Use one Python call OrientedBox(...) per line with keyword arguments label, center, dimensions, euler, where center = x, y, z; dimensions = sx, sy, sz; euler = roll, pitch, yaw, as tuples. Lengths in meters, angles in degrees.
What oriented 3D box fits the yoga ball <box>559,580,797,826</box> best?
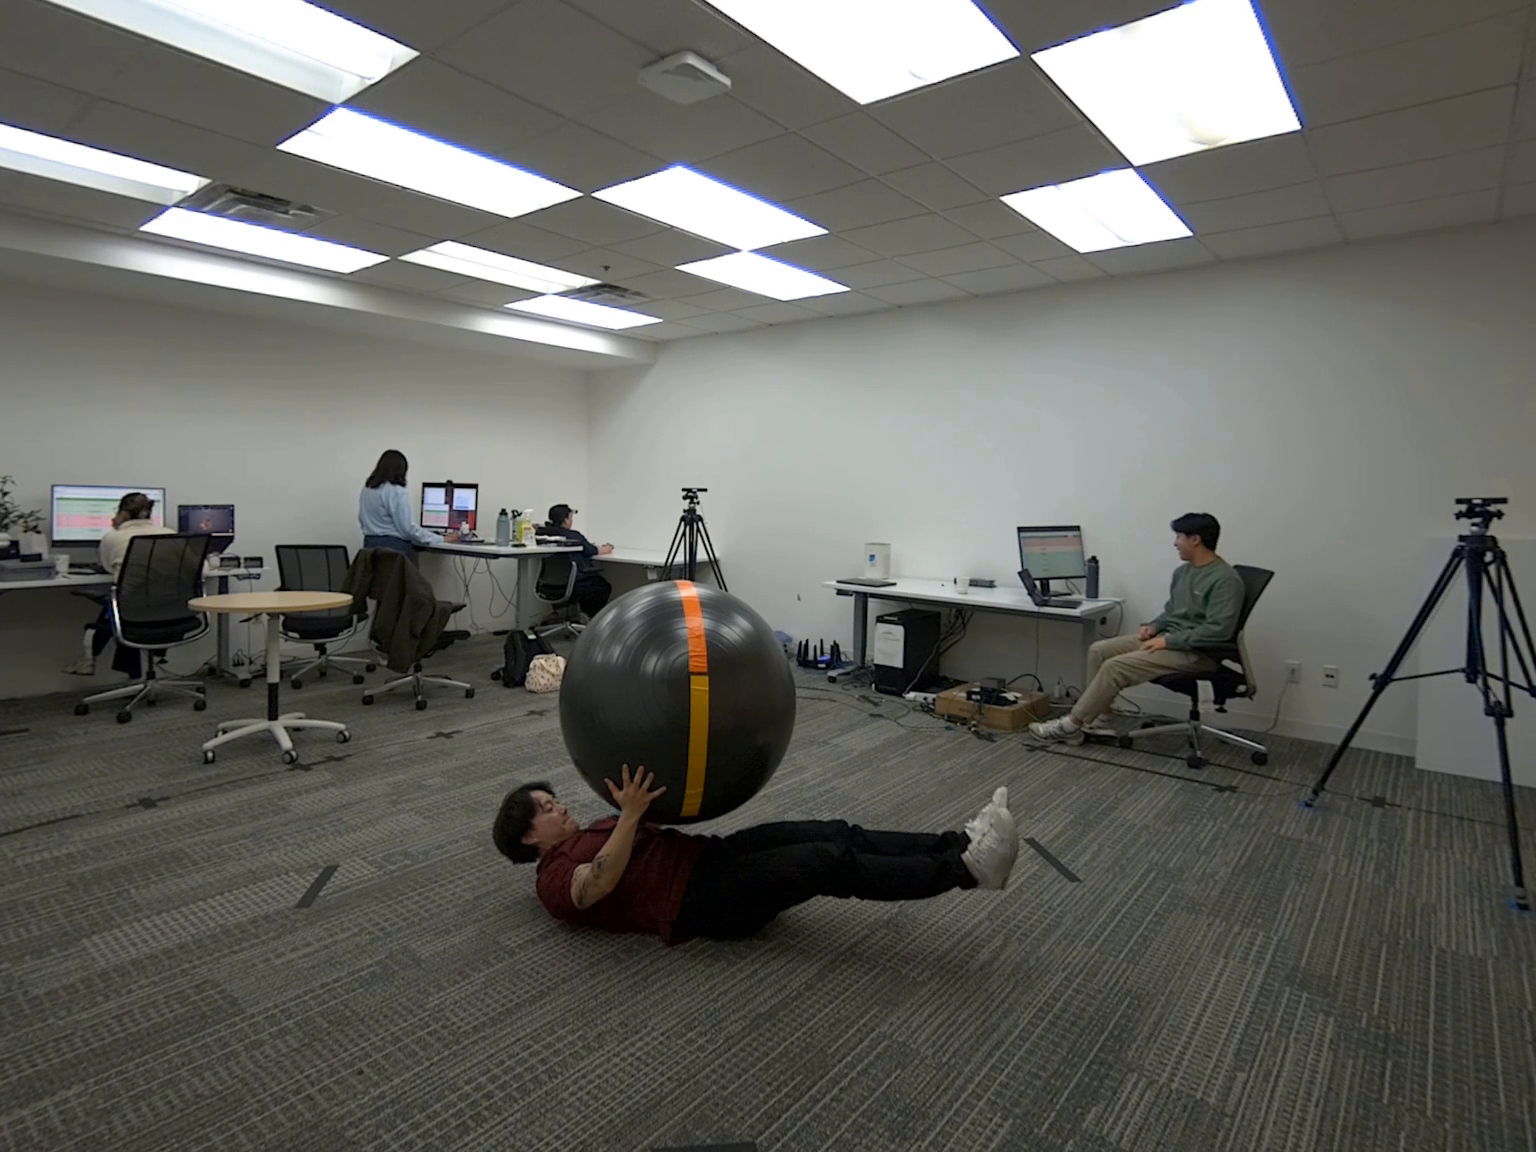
OrientedBox(label="yoga ball", center=(-0.294, 0.399, 2.727), dimensions=(0.757, 0.755, 0.762), euler=(1, 4, -2))
